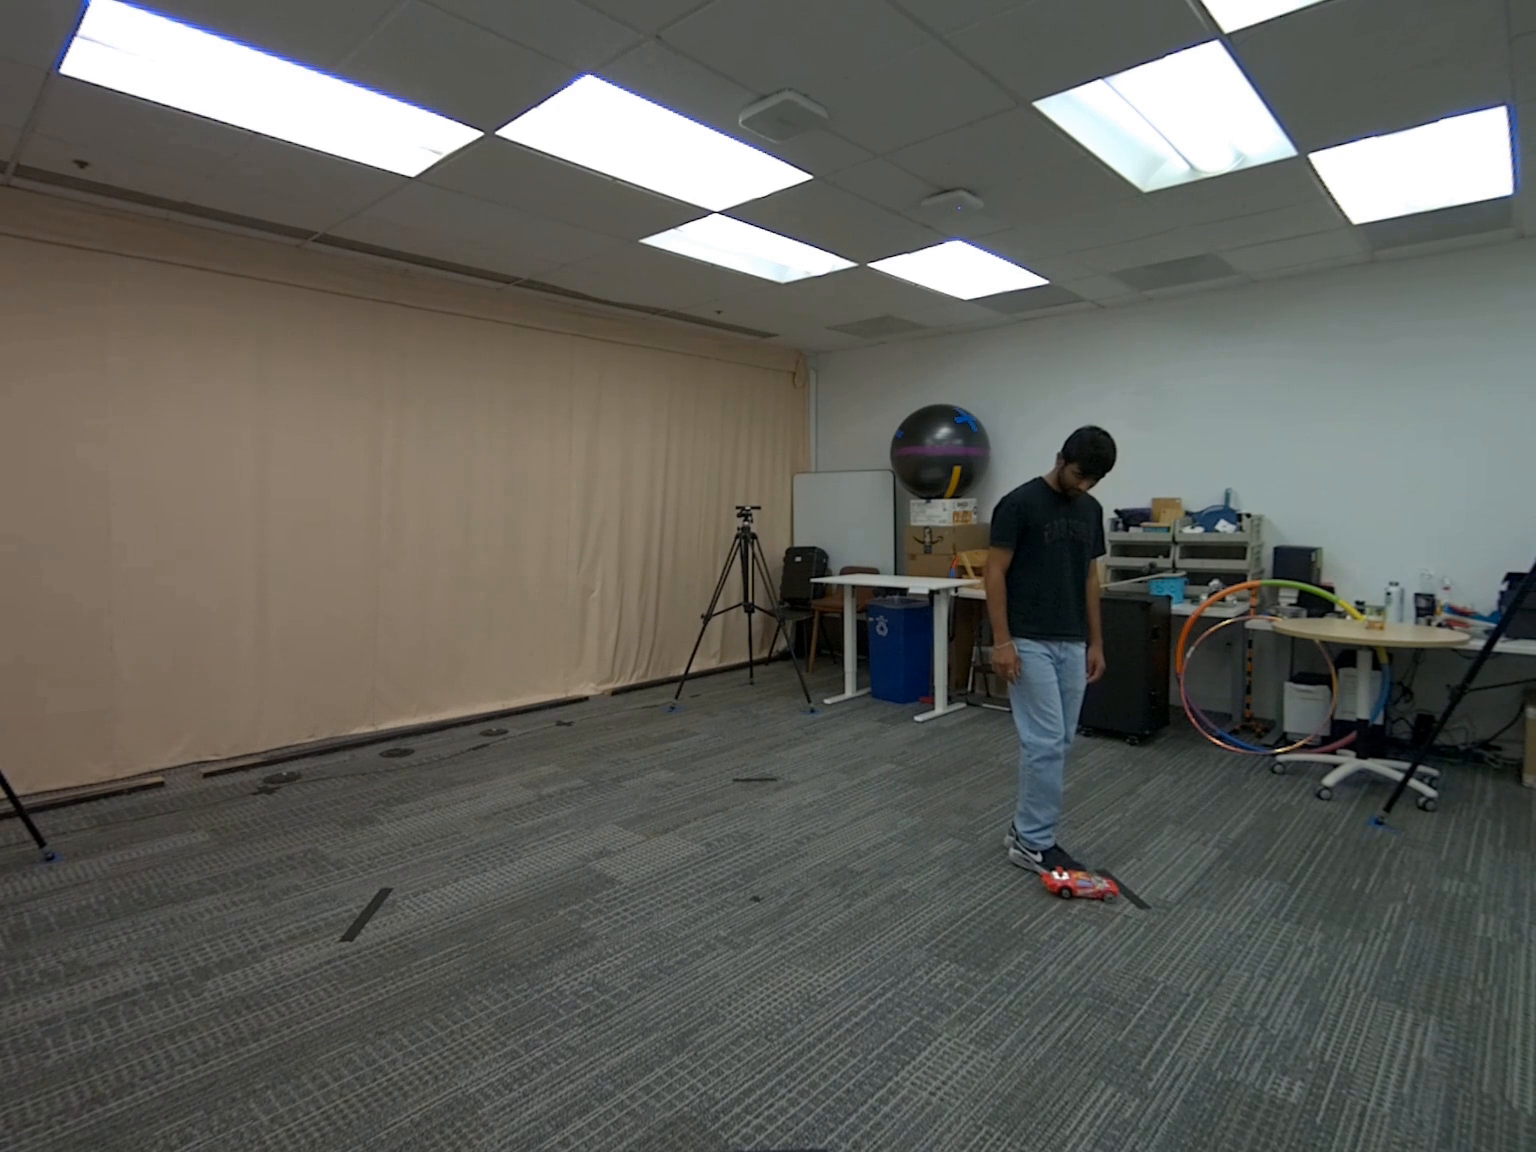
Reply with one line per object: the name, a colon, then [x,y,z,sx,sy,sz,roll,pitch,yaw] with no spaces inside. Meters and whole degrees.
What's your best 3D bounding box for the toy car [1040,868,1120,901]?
toy car: [1.106,1.104,3.015,0.257,0.083,0.129,11,7,9]
